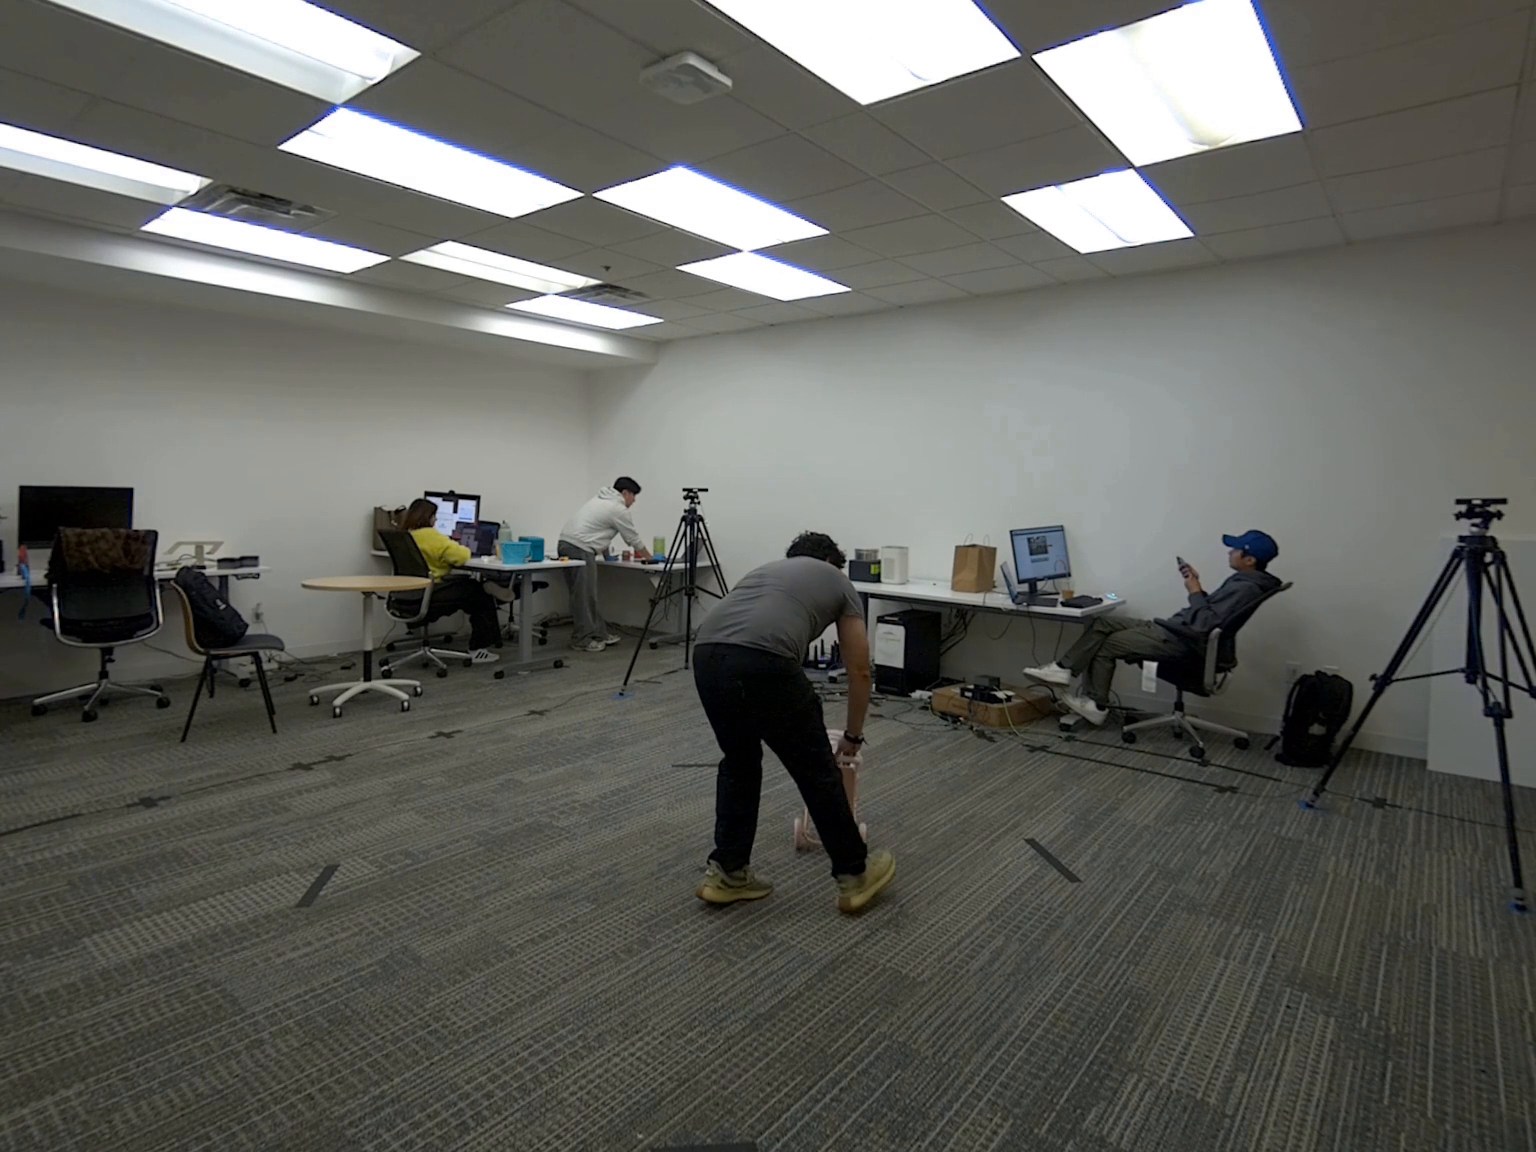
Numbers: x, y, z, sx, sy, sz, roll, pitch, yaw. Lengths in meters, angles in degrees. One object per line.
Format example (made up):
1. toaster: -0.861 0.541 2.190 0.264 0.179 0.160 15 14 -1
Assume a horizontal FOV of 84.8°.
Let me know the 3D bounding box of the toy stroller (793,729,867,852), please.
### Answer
1. toy stroller: 0.243 0.830 3.354 0.285 0.525 0.344 2 21 9
